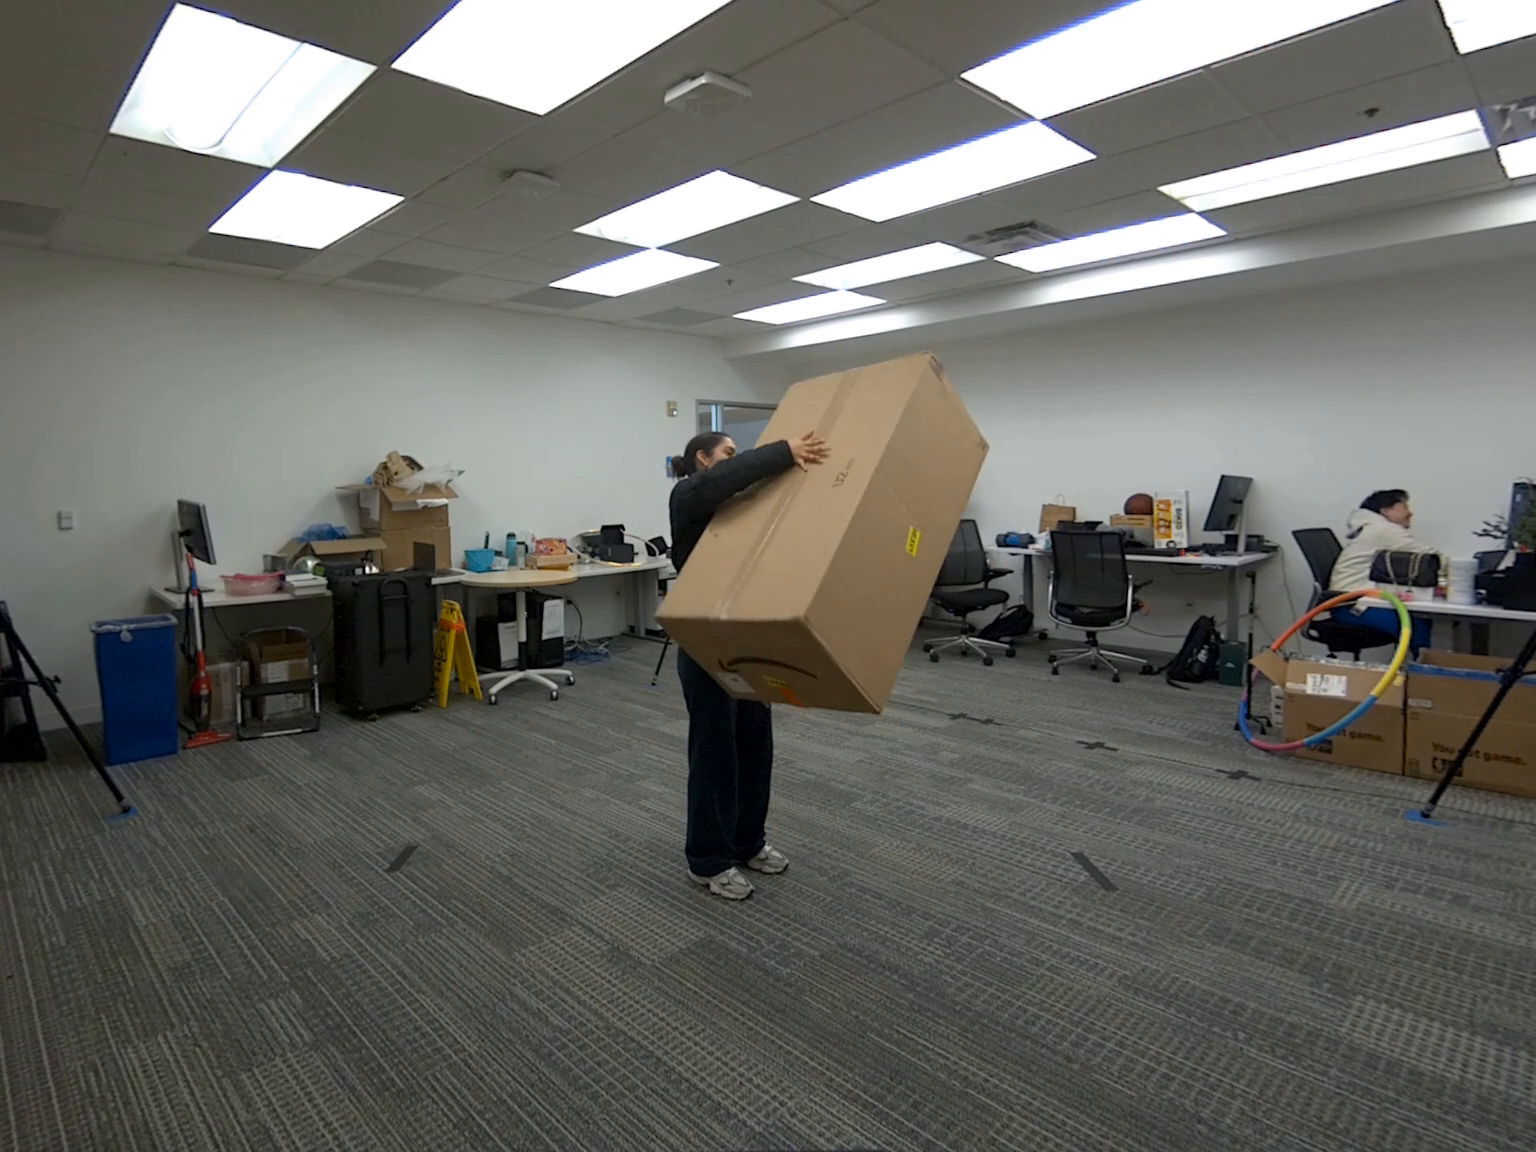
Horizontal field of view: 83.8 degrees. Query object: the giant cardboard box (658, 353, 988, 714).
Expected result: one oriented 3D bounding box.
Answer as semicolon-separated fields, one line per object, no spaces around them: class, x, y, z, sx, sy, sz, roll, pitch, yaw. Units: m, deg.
giant cardboard box;0.192;-0.130;2.654;0.593;1.034;0.411;-4;-42;44
